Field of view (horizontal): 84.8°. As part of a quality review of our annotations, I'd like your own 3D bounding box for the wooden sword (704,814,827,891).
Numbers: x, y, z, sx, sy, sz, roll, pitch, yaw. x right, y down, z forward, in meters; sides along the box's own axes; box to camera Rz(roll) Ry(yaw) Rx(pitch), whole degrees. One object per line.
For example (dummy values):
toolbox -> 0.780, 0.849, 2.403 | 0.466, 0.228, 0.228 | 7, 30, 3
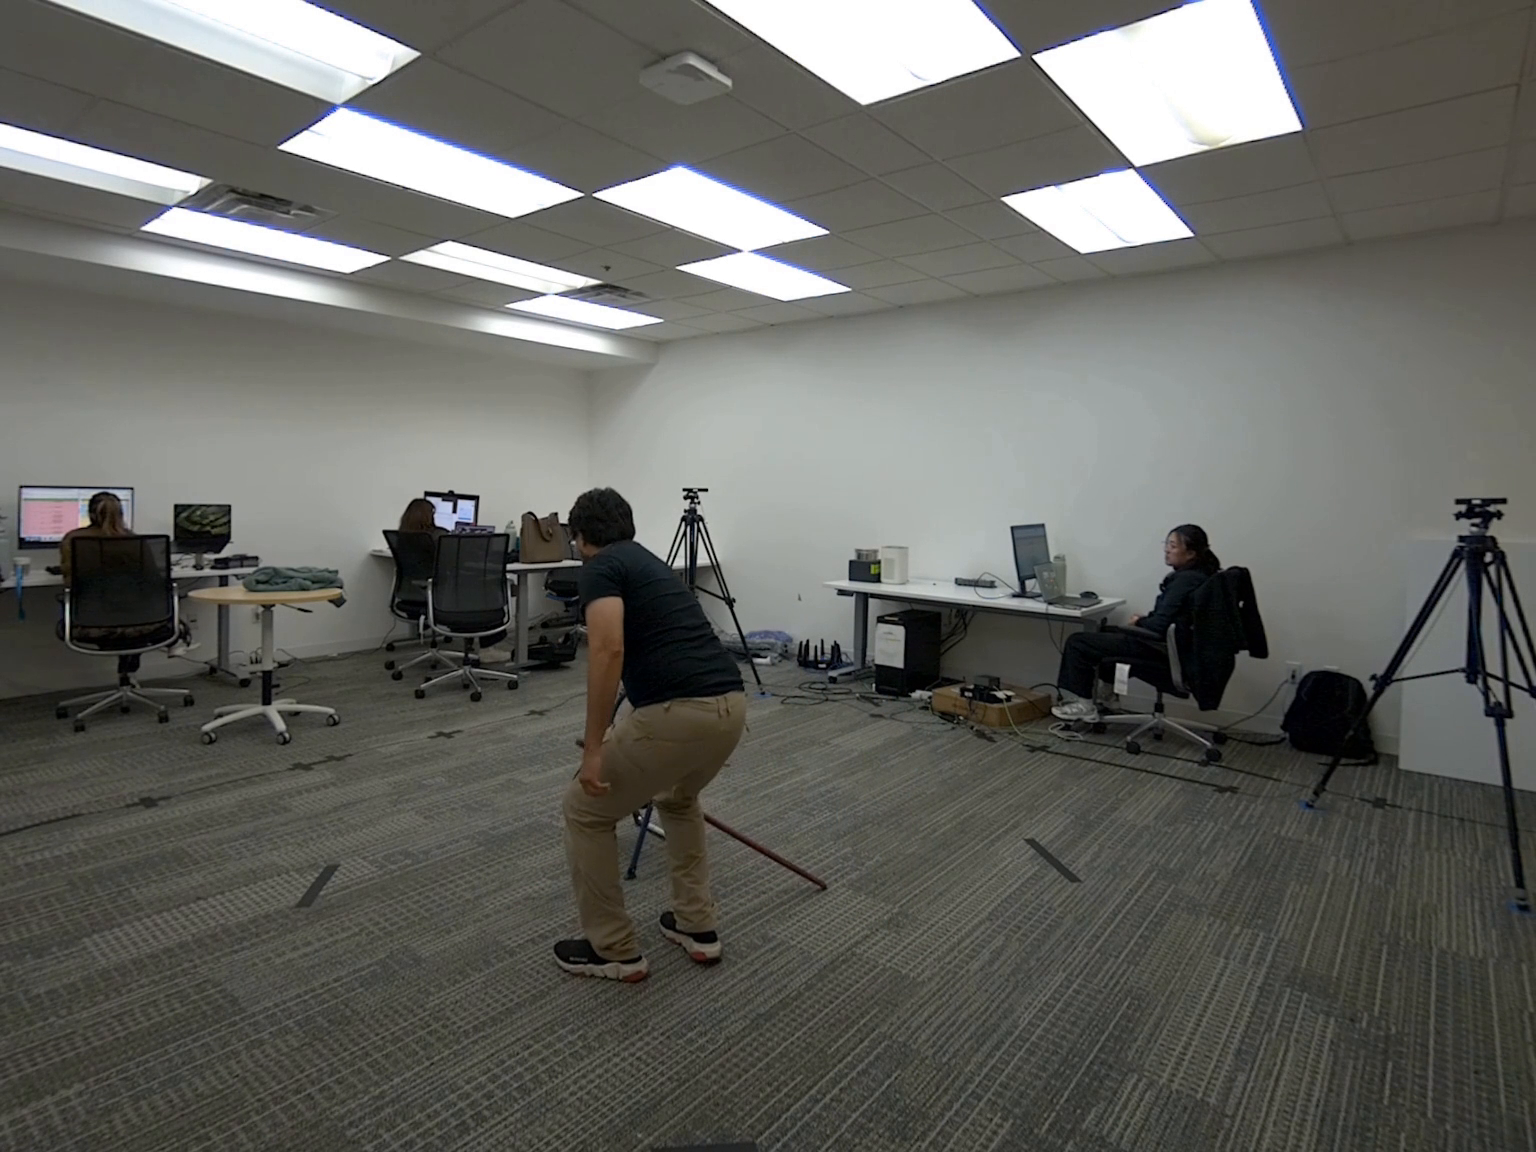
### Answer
wooden sword -> -0.202, 0.835, 2.886 | 1.007, 0.051, 0.024 | 31, -13, -12
